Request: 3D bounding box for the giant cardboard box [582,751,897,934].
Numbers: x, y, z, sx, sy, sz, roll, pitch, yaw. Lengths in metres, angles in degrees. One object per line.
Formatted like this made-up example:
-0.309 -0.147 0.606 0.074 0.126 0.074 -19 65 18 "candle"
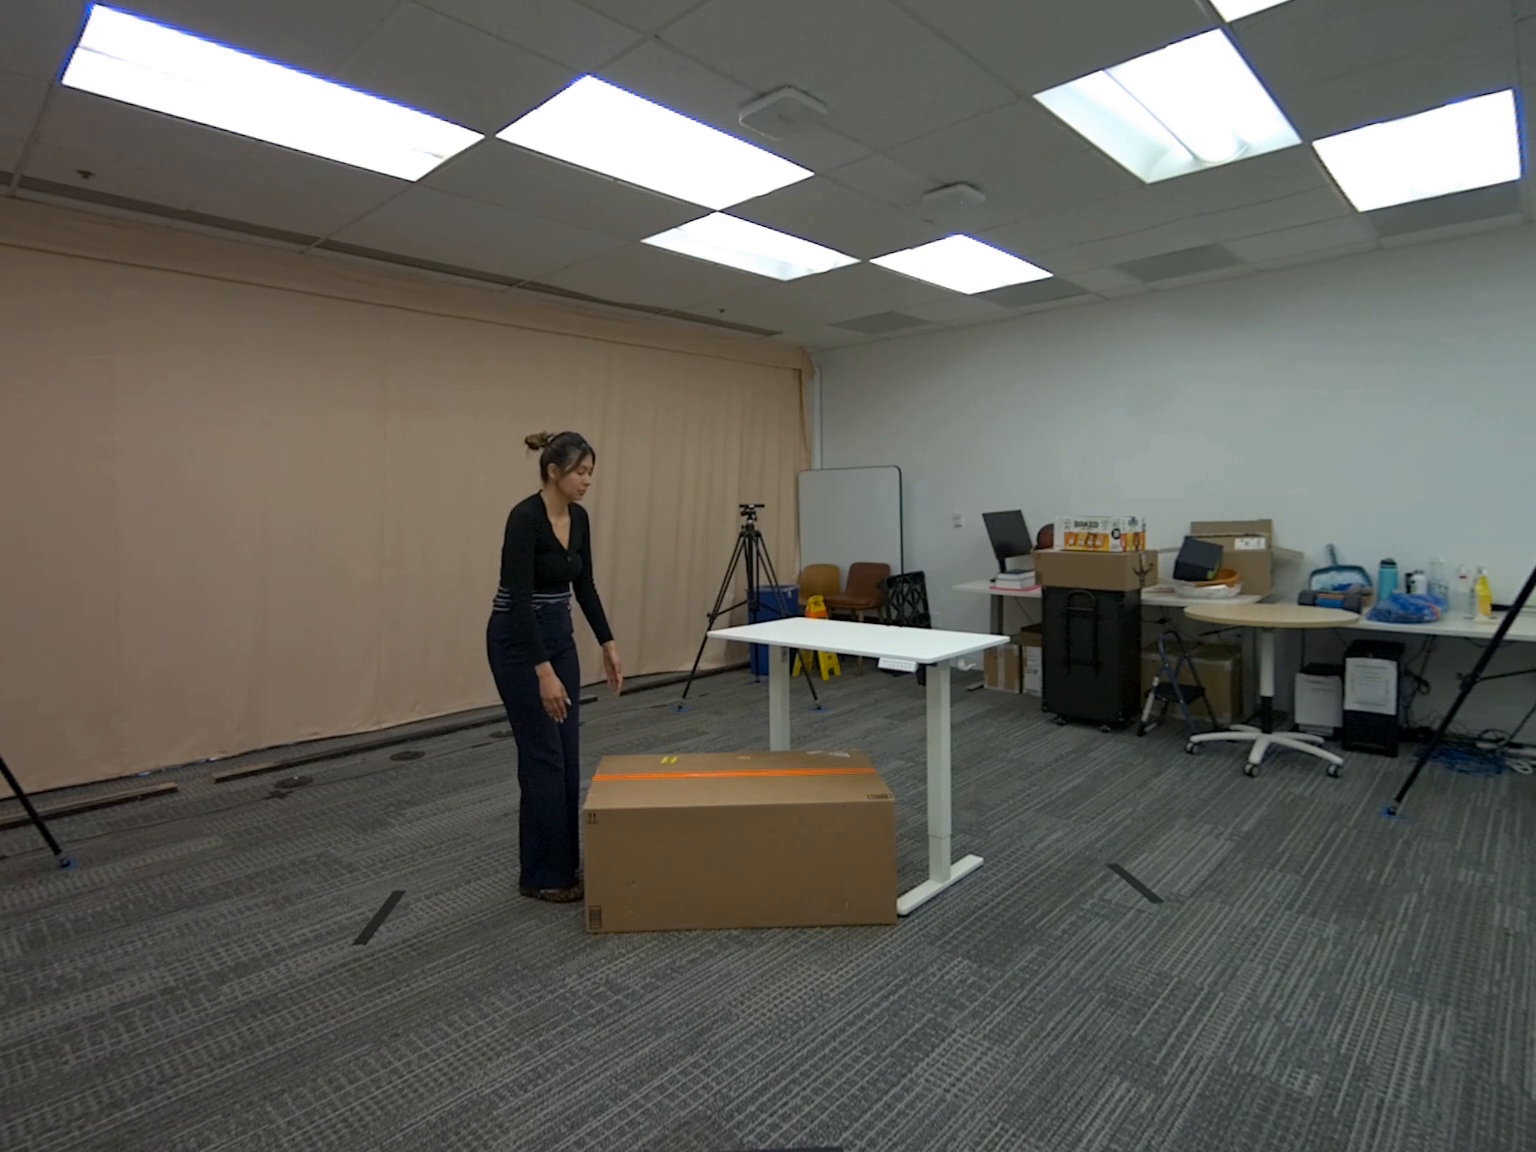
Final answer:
-0.113 0.923 3.027 1.024 0.425 0.580 -1 3 -2 "giant cardboard box"
